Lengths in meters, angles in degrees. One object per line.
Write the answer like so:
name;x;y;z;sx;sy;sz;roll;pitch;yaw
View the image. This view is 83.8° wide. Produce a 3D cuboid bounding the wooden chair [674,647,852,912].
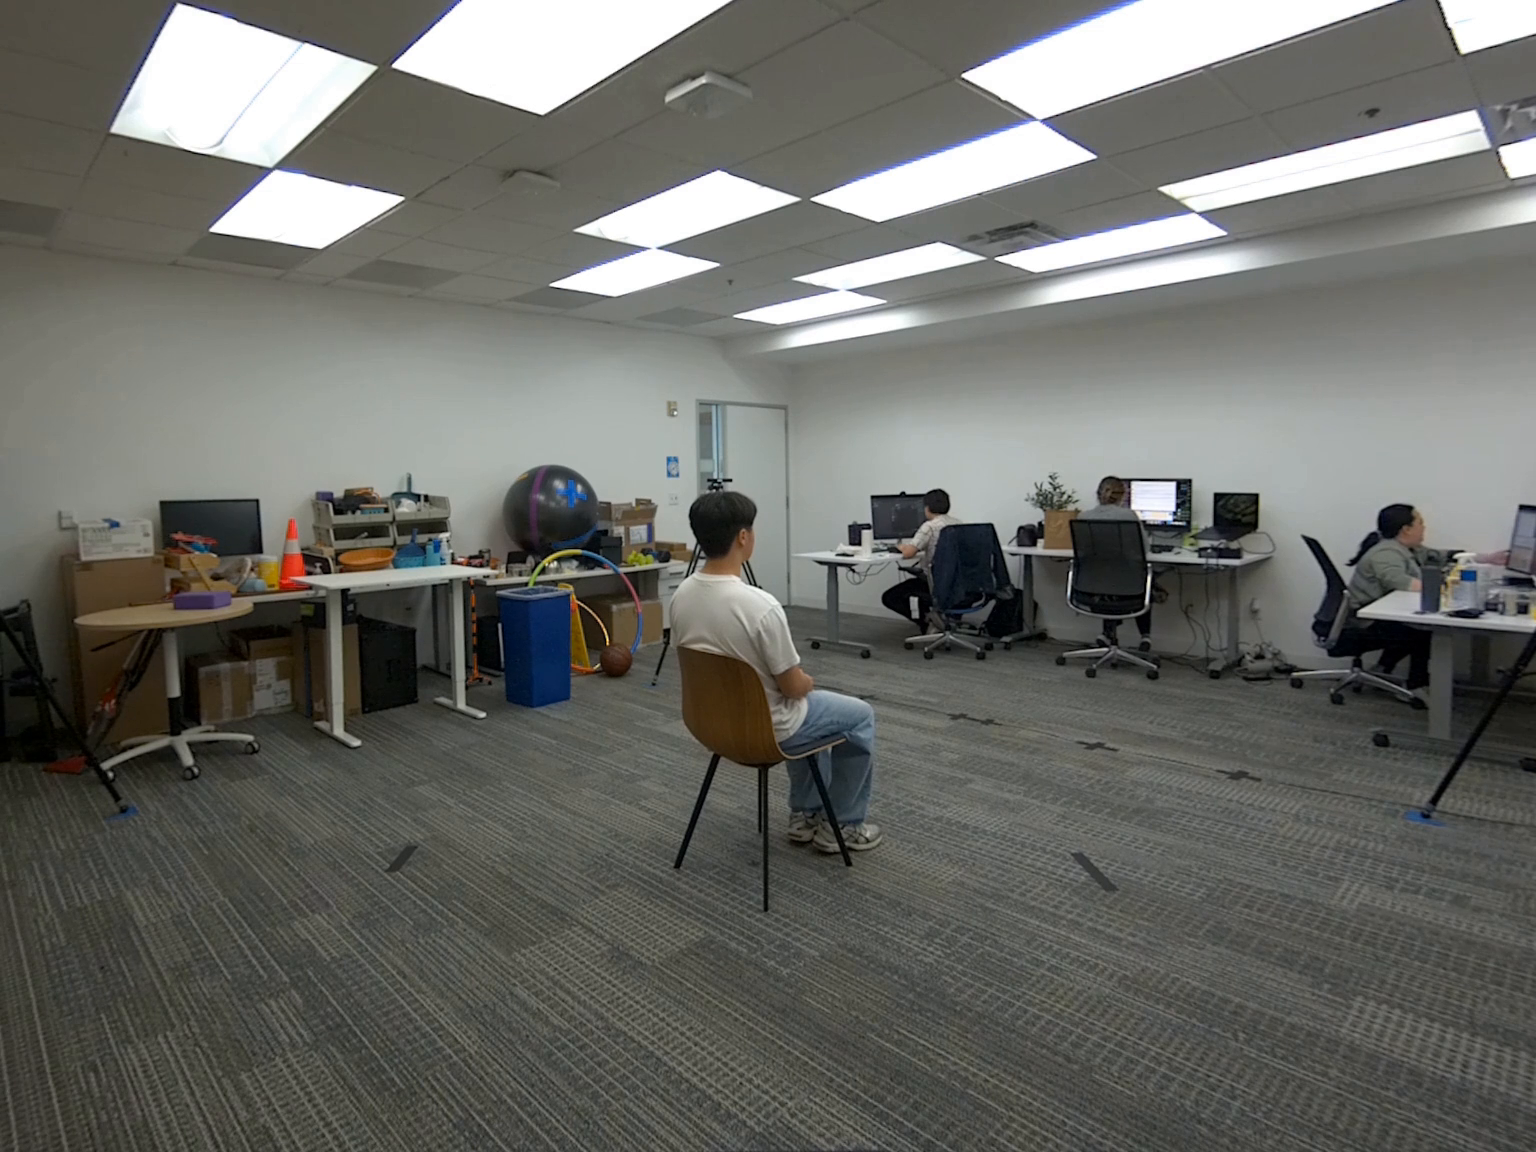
wooden chair;-0.023;0.626;3.039;0.493;0.871;0.511;4;11;44
